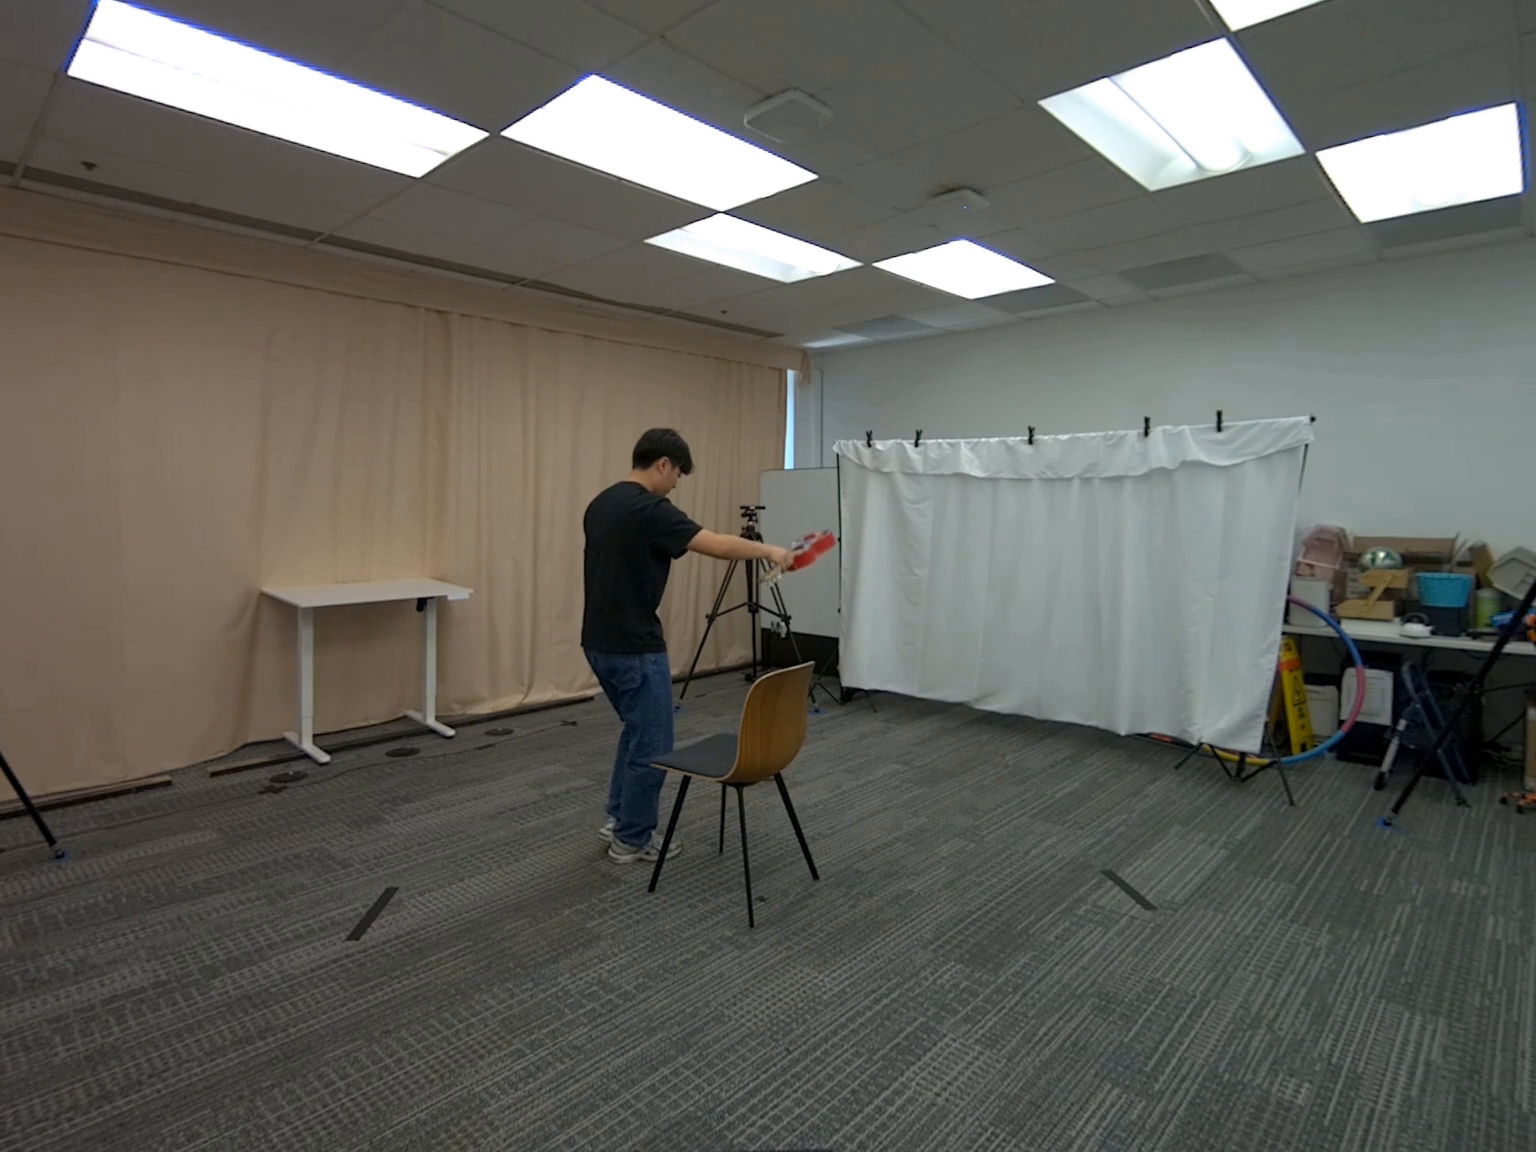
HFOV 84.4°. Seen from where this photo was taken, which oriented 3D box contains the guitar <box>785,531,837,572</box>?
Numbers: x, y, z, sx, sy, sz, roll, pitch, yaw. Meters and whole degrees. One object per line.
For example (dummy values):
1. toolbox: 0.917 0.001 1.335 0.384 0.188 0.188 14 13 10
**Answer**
1. guitar: 0.083 -0.053 3.391 0.198 0.070 0.490 -10 19 42
